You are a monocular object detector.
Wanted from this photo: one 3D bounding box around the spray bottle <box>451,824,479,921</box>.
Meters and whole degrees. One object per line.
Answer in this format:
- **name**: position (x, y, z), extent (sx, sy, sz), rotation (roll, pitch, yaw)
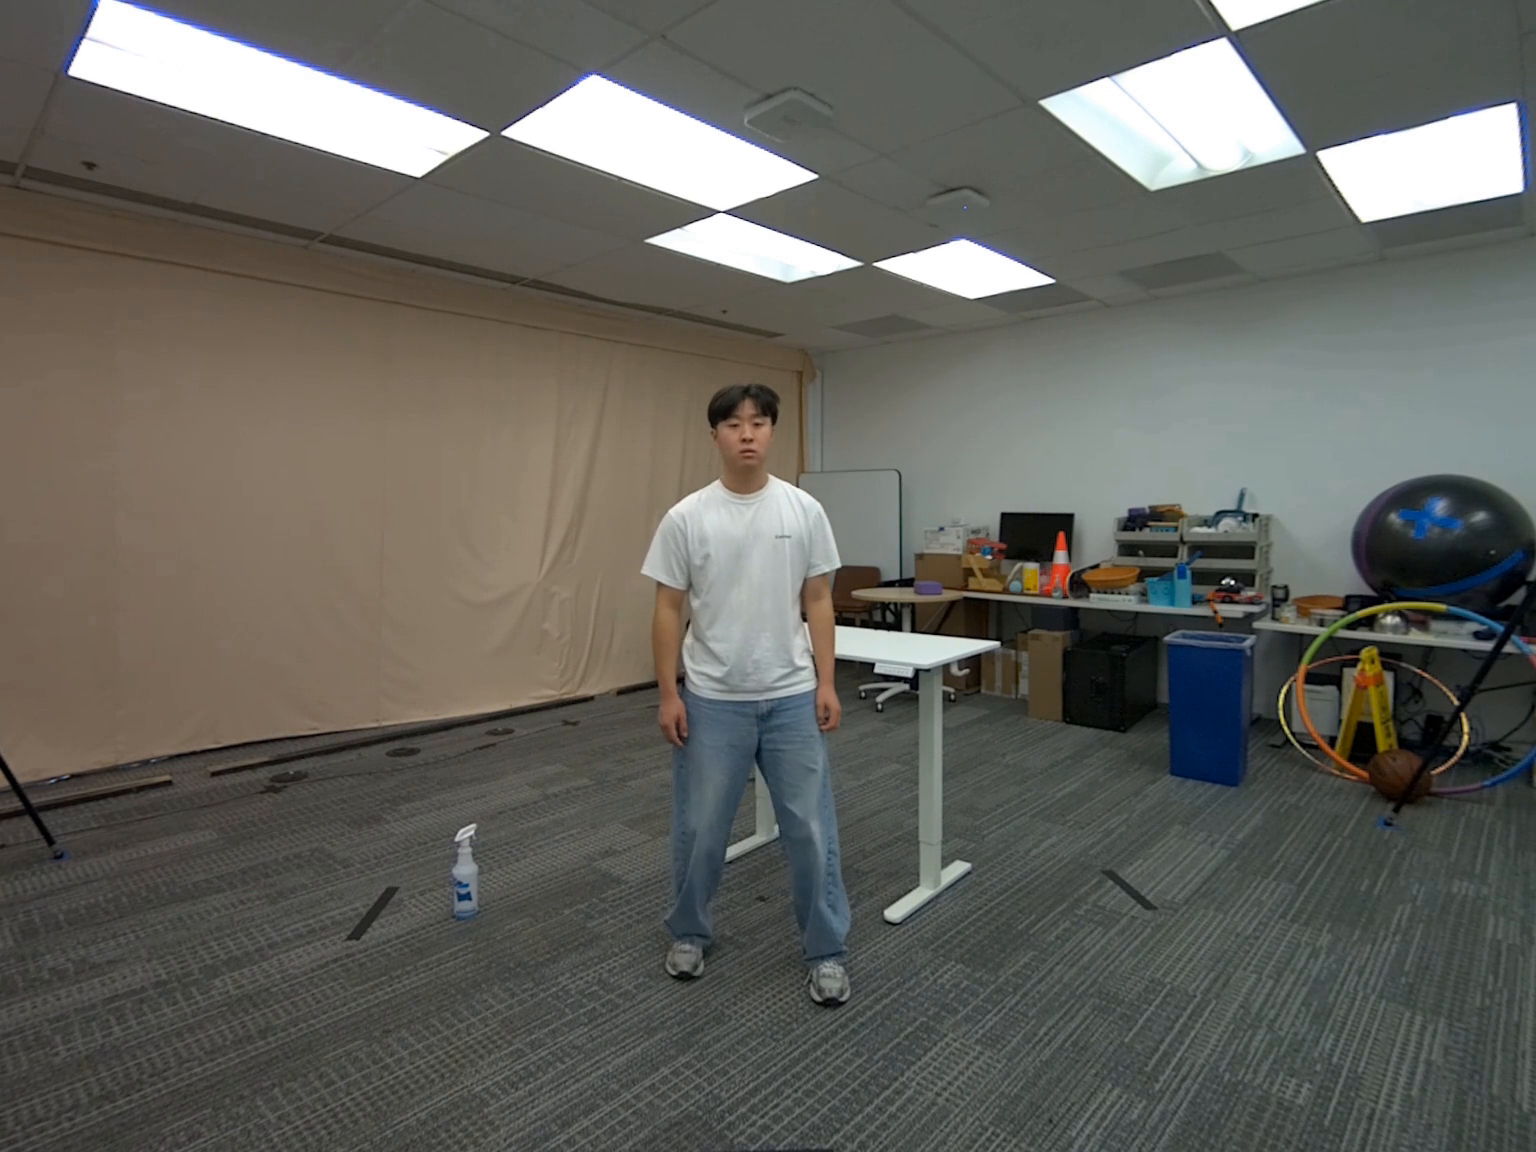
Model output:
- **spray bottle**: position (-1.048, 1.022, 2.883), extent (0.087, 0.297, 0.090), rotation (-1, 1, -39)
